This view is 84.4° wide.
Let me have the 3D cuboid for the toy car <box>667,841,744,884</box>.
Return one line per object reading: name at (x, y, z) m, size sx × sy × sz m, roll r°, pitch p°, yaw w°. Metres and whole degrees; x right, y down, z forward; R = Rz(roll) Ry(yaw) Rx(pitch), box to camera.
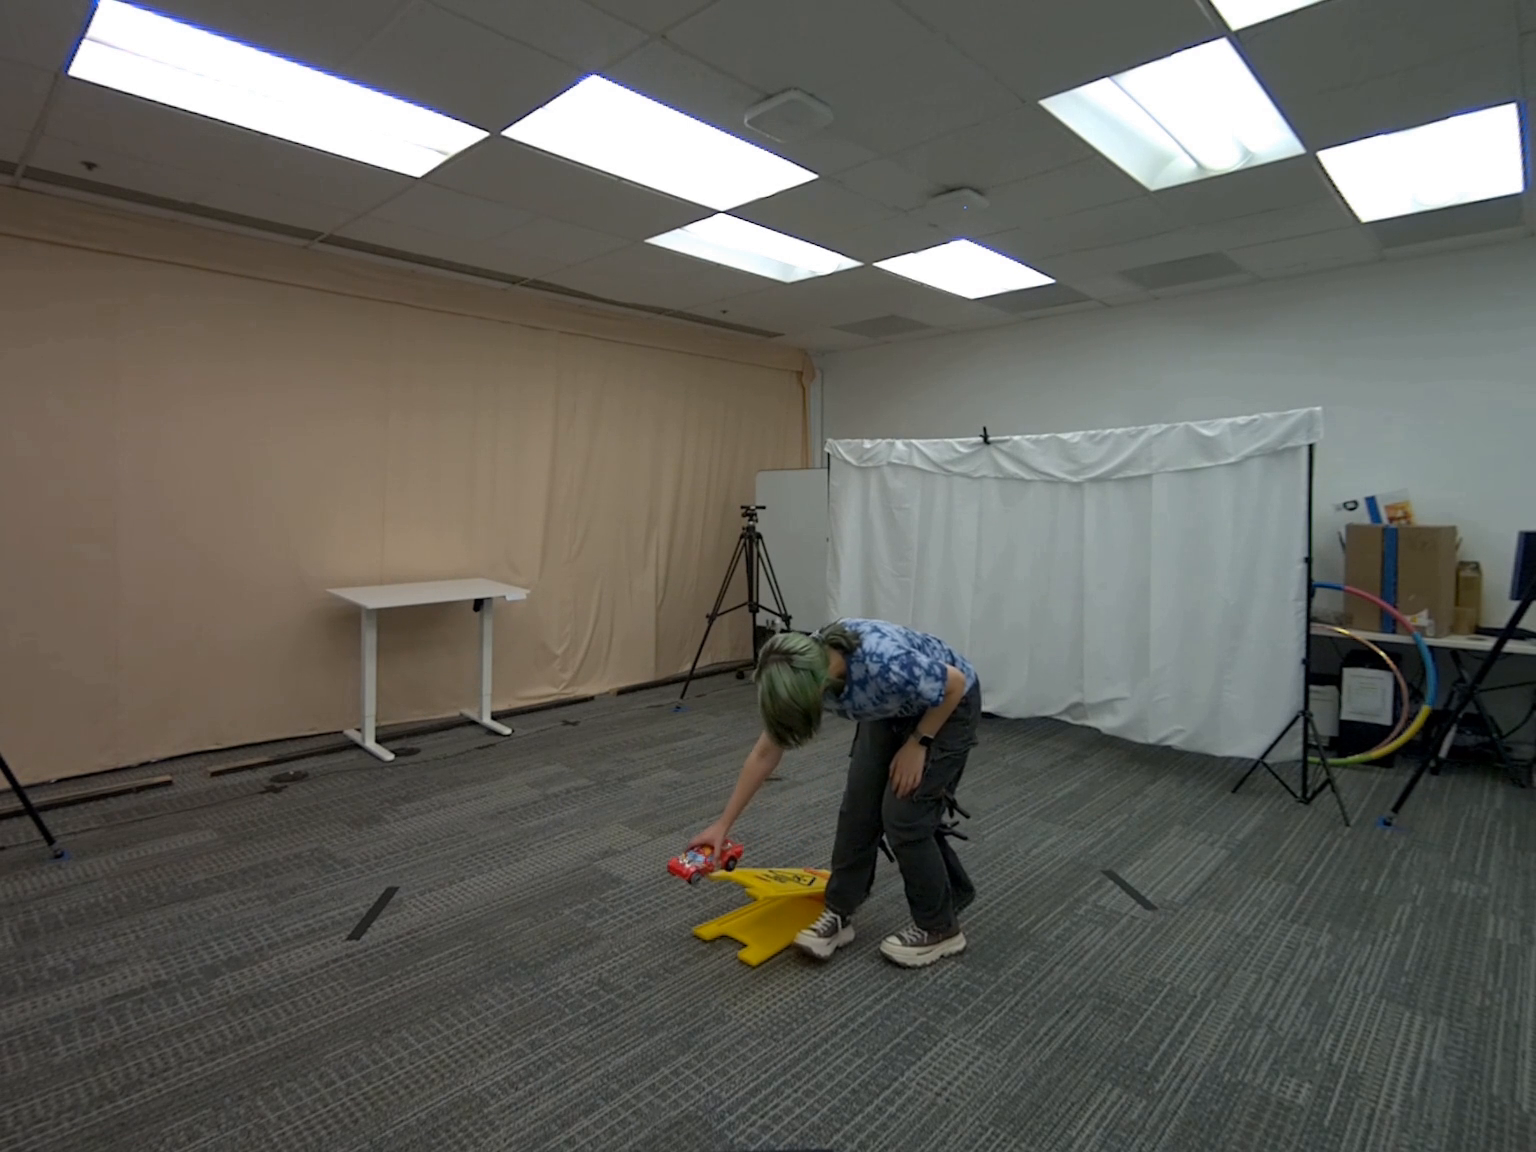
toy car at (-0.179, 0.882, 2.571) m, size 0.248 × 0.082 × 0.135 m, roll -17°, pitch 16°, yaw -42°
